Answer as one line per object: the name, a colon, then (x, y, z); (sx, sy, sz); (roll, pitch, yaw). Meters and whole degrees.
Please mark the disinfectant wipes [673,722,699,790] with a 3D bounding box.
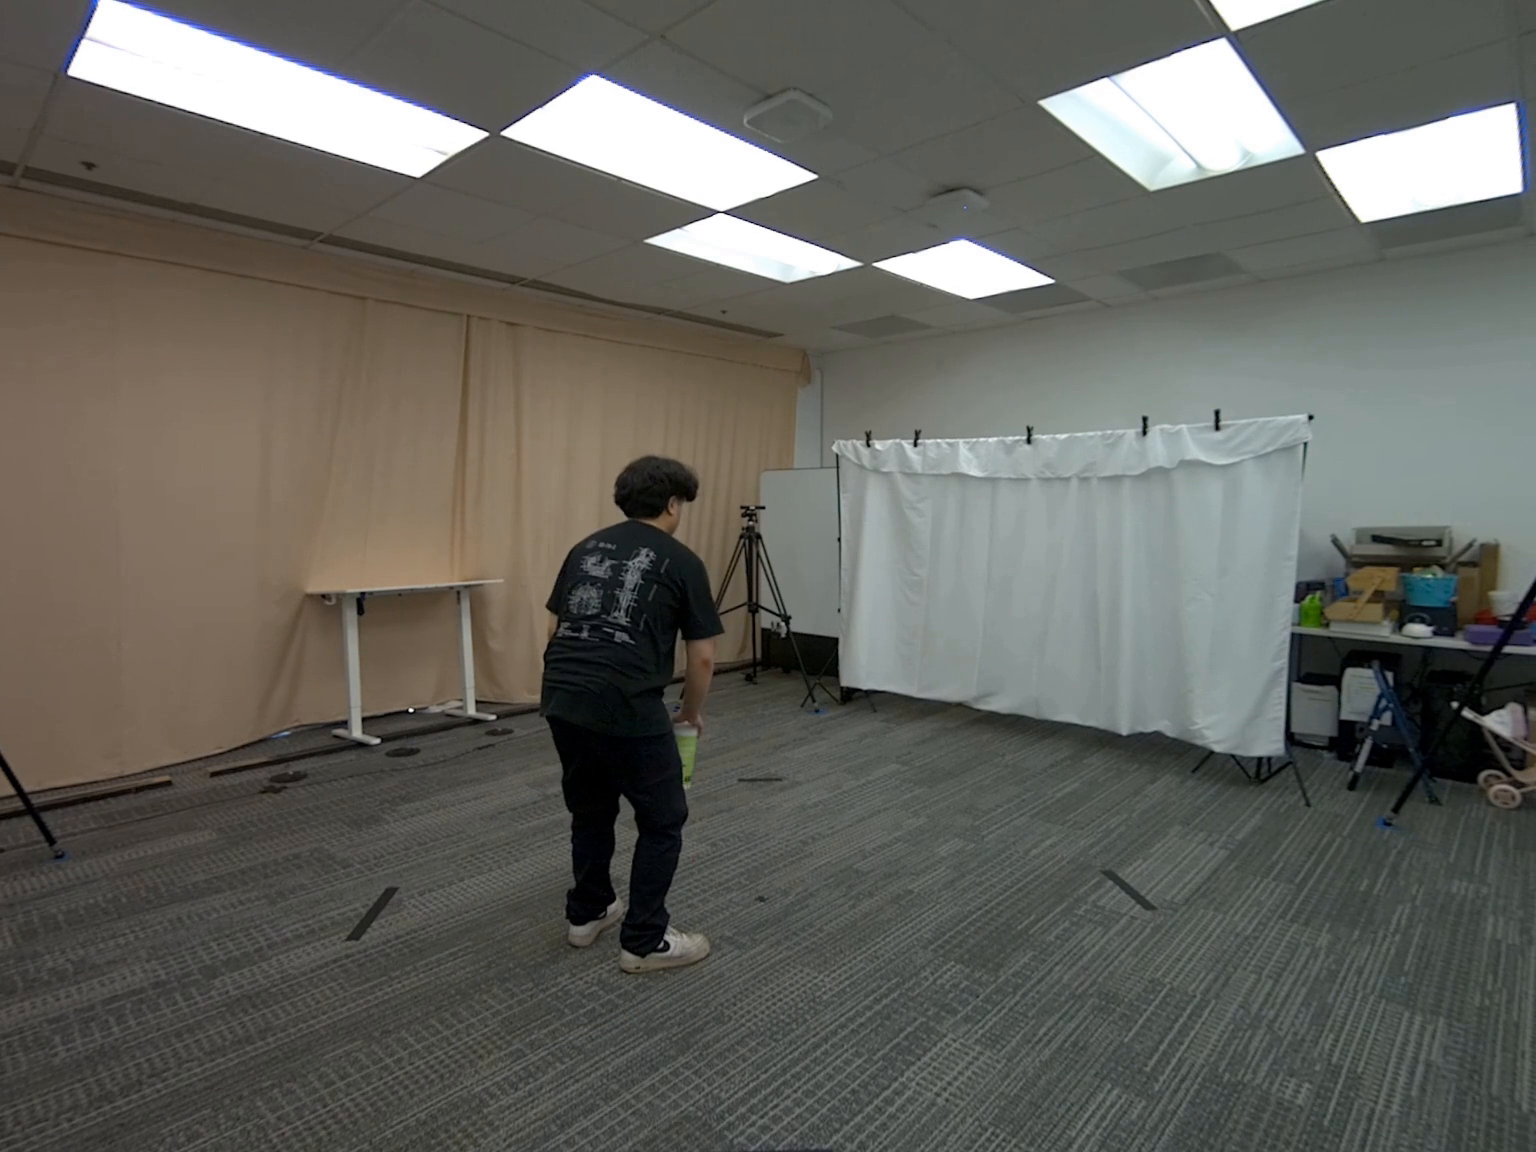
disinfectant wipes: (-0.304, 0.610, 2.830); (0.117, 0.217, 0.118); (6, 4, -2)
